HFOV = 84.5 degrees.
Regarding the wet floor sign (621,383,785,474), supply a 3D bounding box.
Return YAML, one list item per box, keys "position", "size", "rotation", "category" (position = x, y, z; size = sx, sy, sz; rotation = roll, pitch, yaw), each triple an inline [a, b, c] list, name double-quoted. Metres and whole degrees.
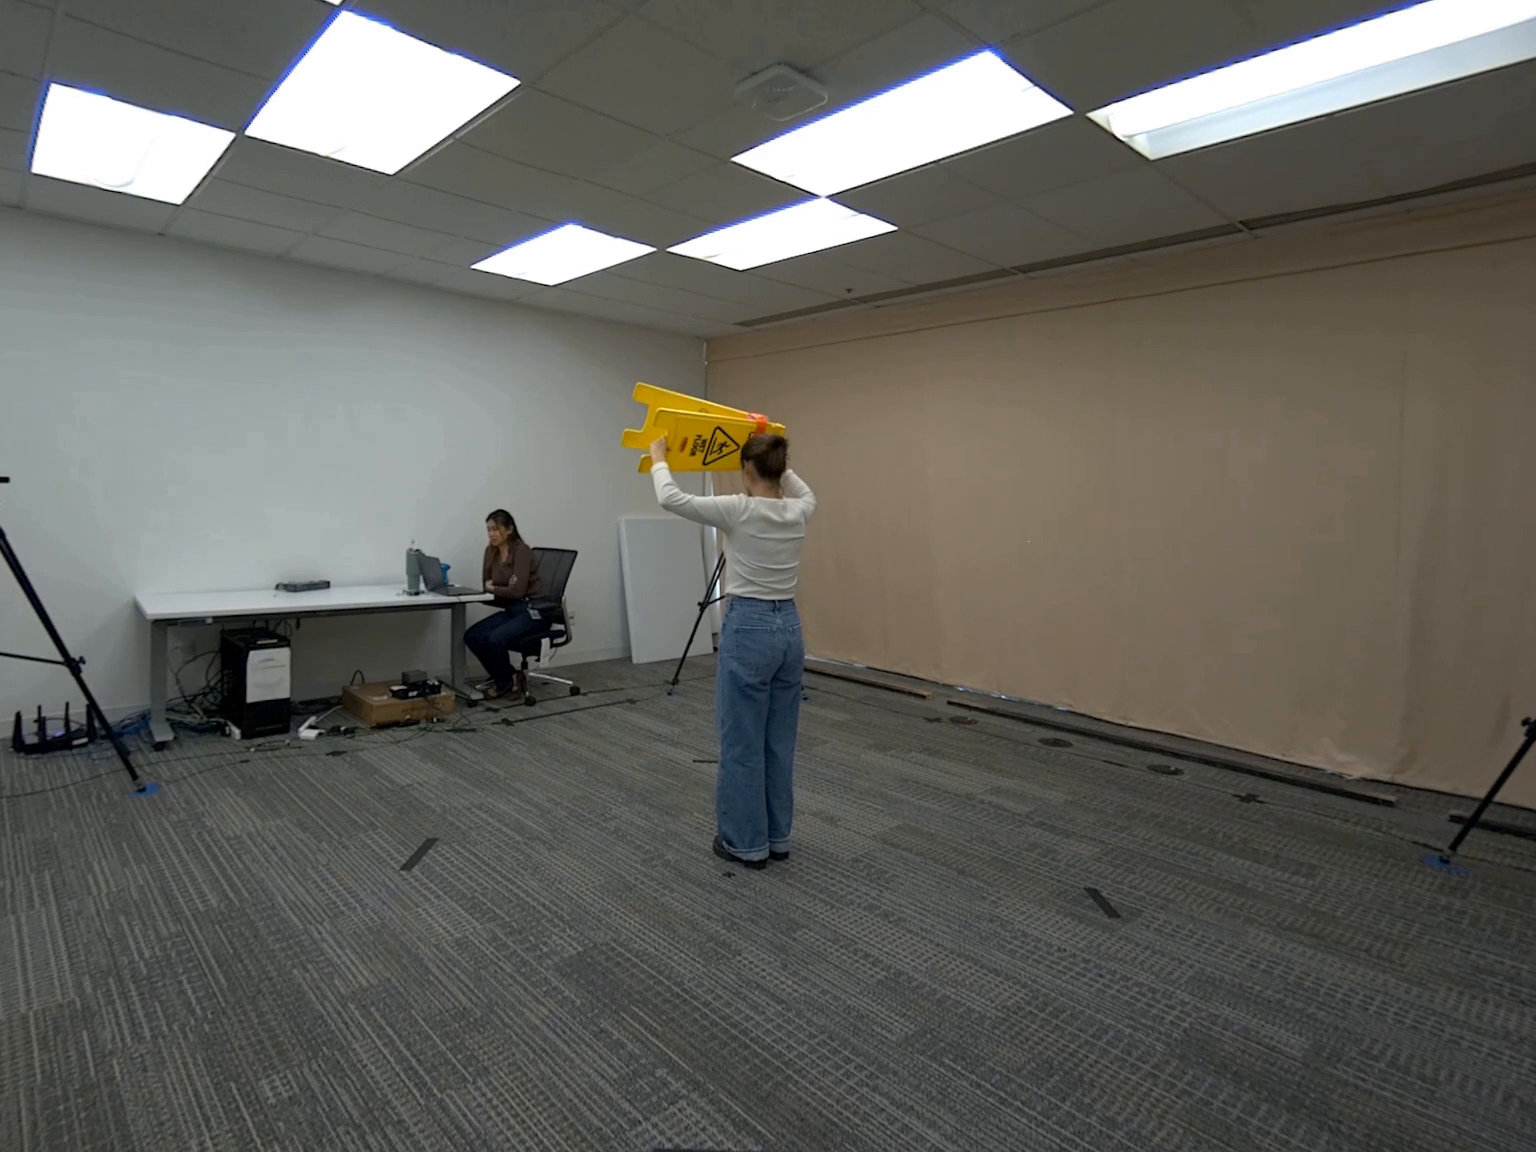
- position: [-0.244, -0.567, 3.450]
  size: [0.632, 0.279, 0.299]
  rotation: [3, 30, -29]
  category: "wet floor sign"
